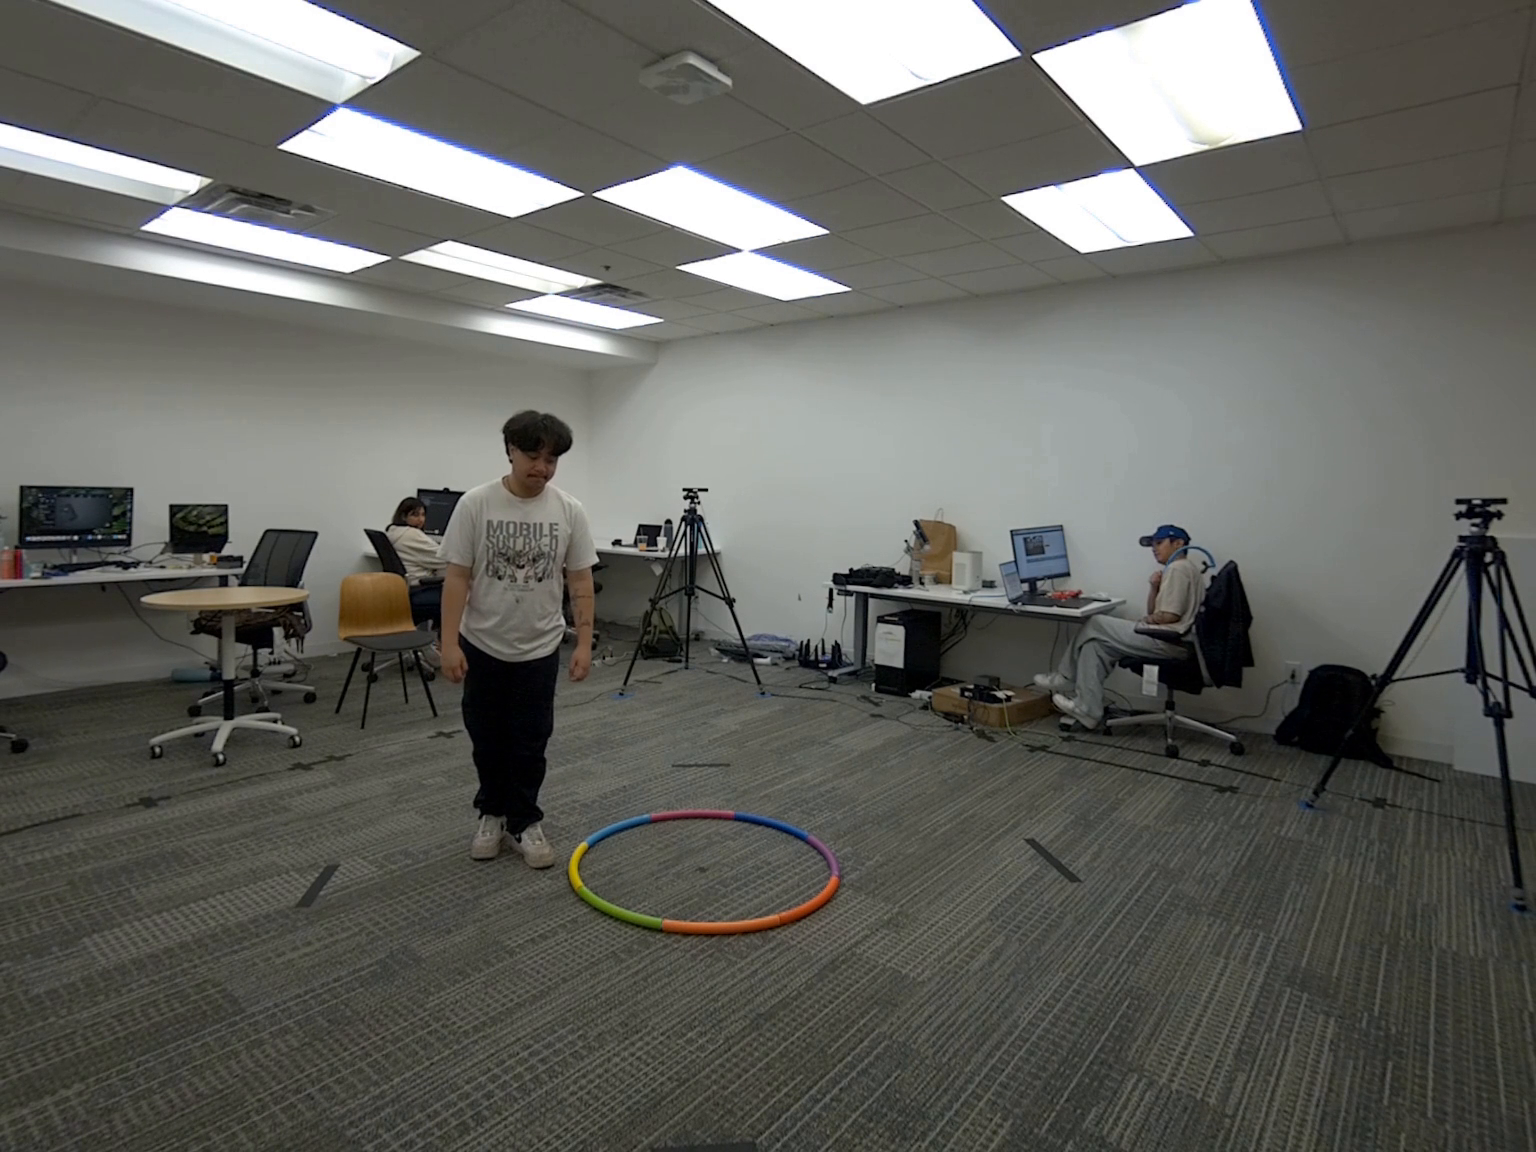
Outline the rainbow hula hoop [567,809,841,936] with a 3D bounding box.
[{"bbox_3d":[-0.246,1.040,3.125,0.984,0.051,0.991,1,6,-2],"label":"rainbow hula hoop"}]
